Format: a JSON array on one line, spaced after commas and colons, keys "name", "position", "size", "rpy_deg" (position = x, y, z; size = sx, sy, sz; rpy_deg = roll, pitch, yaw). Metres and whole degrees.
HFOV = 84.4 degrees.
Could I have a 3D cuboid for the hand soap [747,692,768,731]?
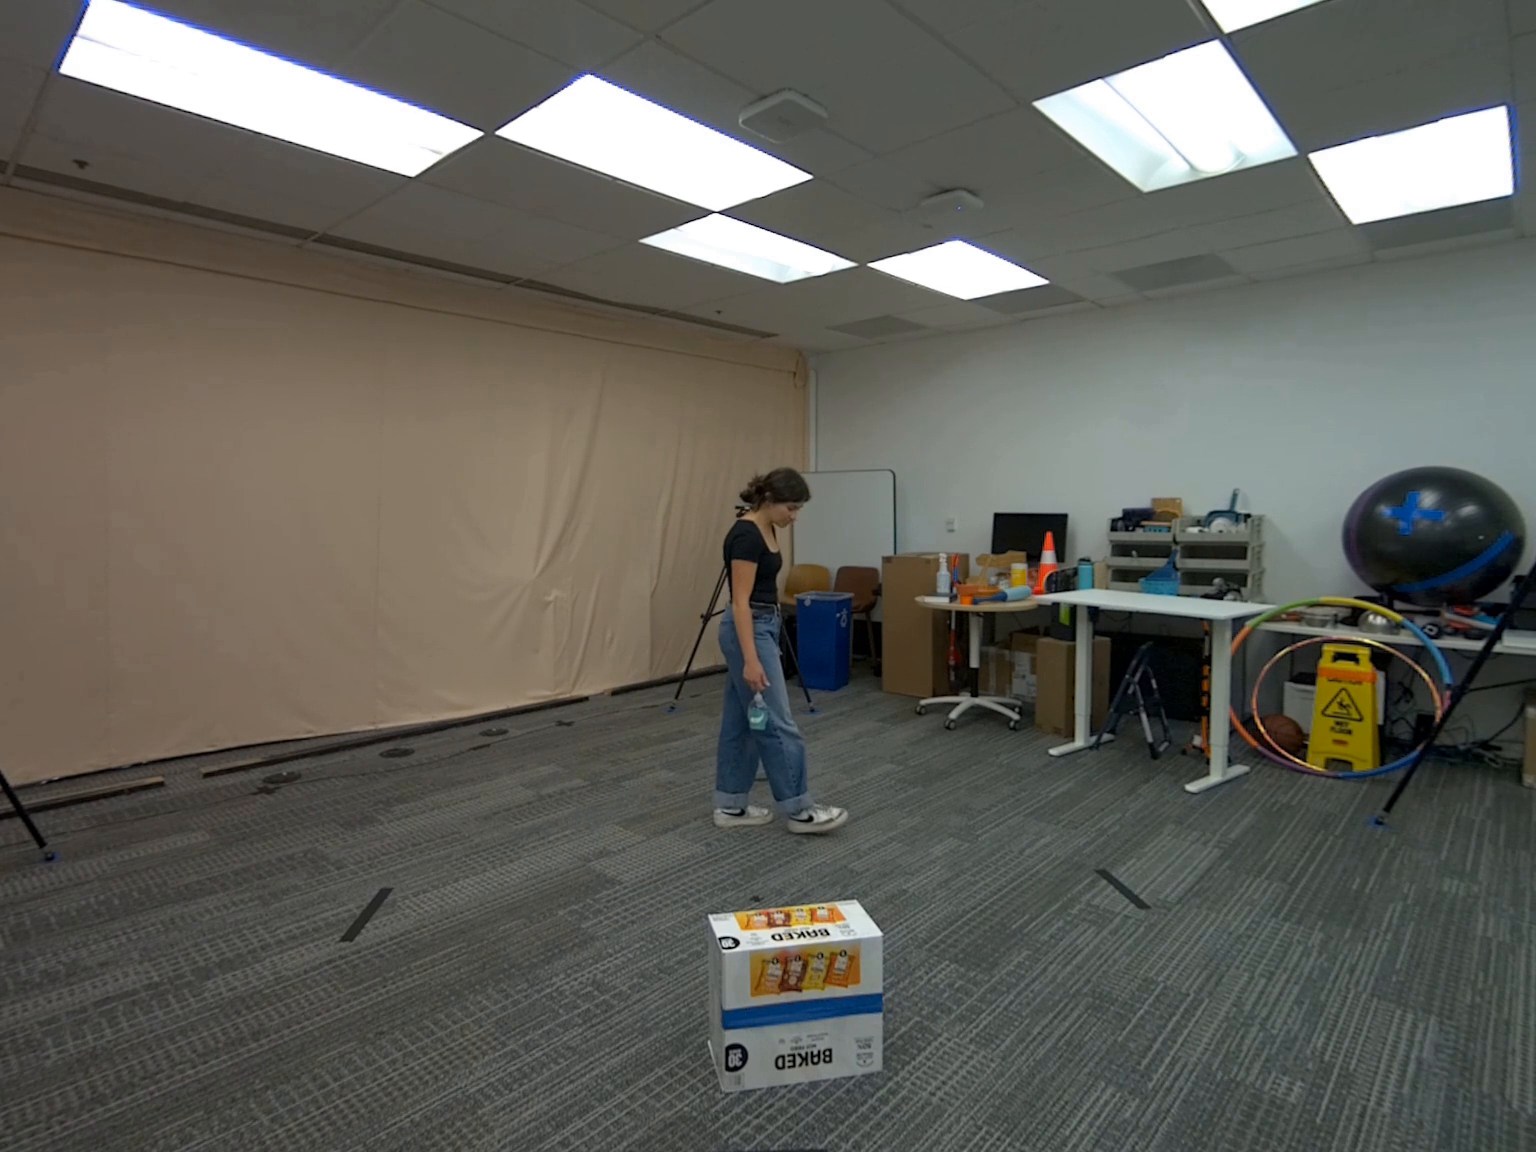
[{"name": "hand soap", "position": [-0.031, 0.524, 3.363], "size": [0.087, 0.168, 0.042], "rpy_deg": [4, -5, 27]}]
